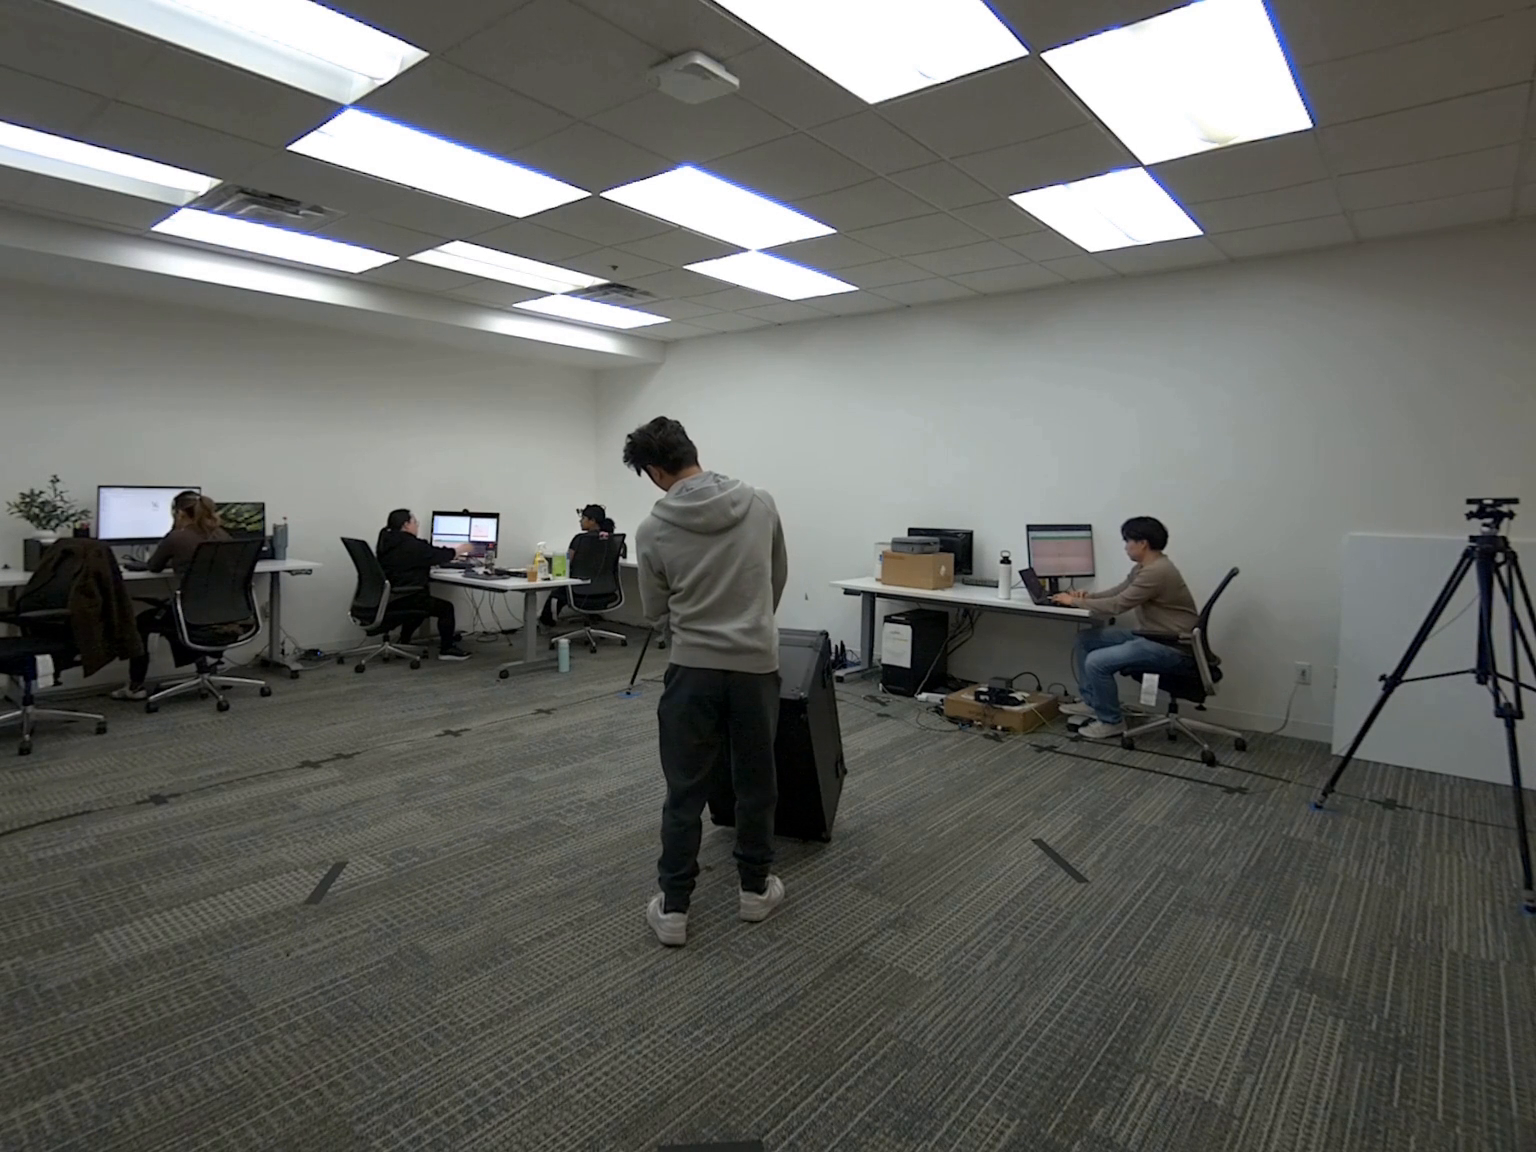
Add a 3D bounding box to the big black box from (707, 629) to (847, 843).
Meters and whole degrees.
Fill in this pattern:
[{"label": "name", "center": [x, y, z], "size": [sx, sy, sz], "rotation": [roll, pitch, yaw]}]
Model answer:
[{"label": "big black box", "center": [-0.002, 0.636, 3.293], "size": [0.532, 0.834, 0.401], "rotation": [3, 37, 18]}]
